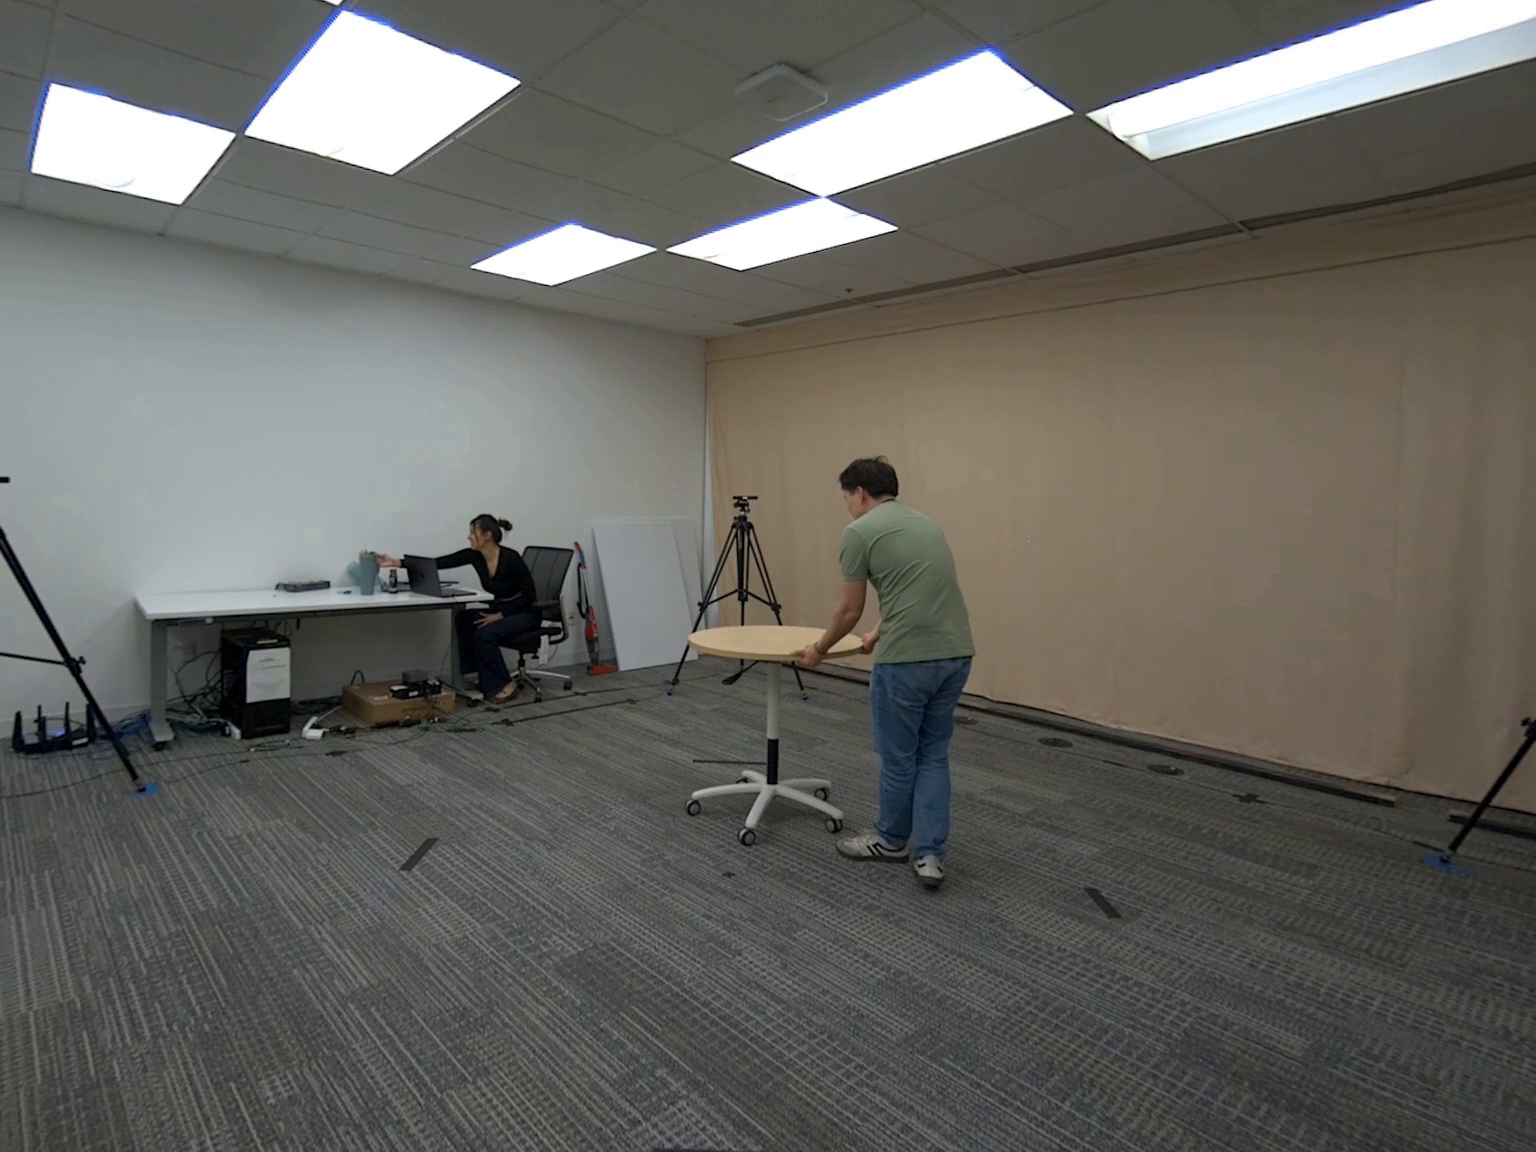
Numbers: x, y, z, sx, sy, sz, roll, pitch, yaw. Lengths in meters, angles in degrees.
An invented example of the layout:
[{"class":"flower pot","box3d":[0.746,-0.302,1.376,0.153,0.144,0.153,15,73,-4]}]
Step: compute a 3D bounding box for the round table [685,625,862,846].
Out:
[{"class":"round table","box3d":[0.017,0.667,3.697,0.763,0.792,0.766,1,4,-1]}]
